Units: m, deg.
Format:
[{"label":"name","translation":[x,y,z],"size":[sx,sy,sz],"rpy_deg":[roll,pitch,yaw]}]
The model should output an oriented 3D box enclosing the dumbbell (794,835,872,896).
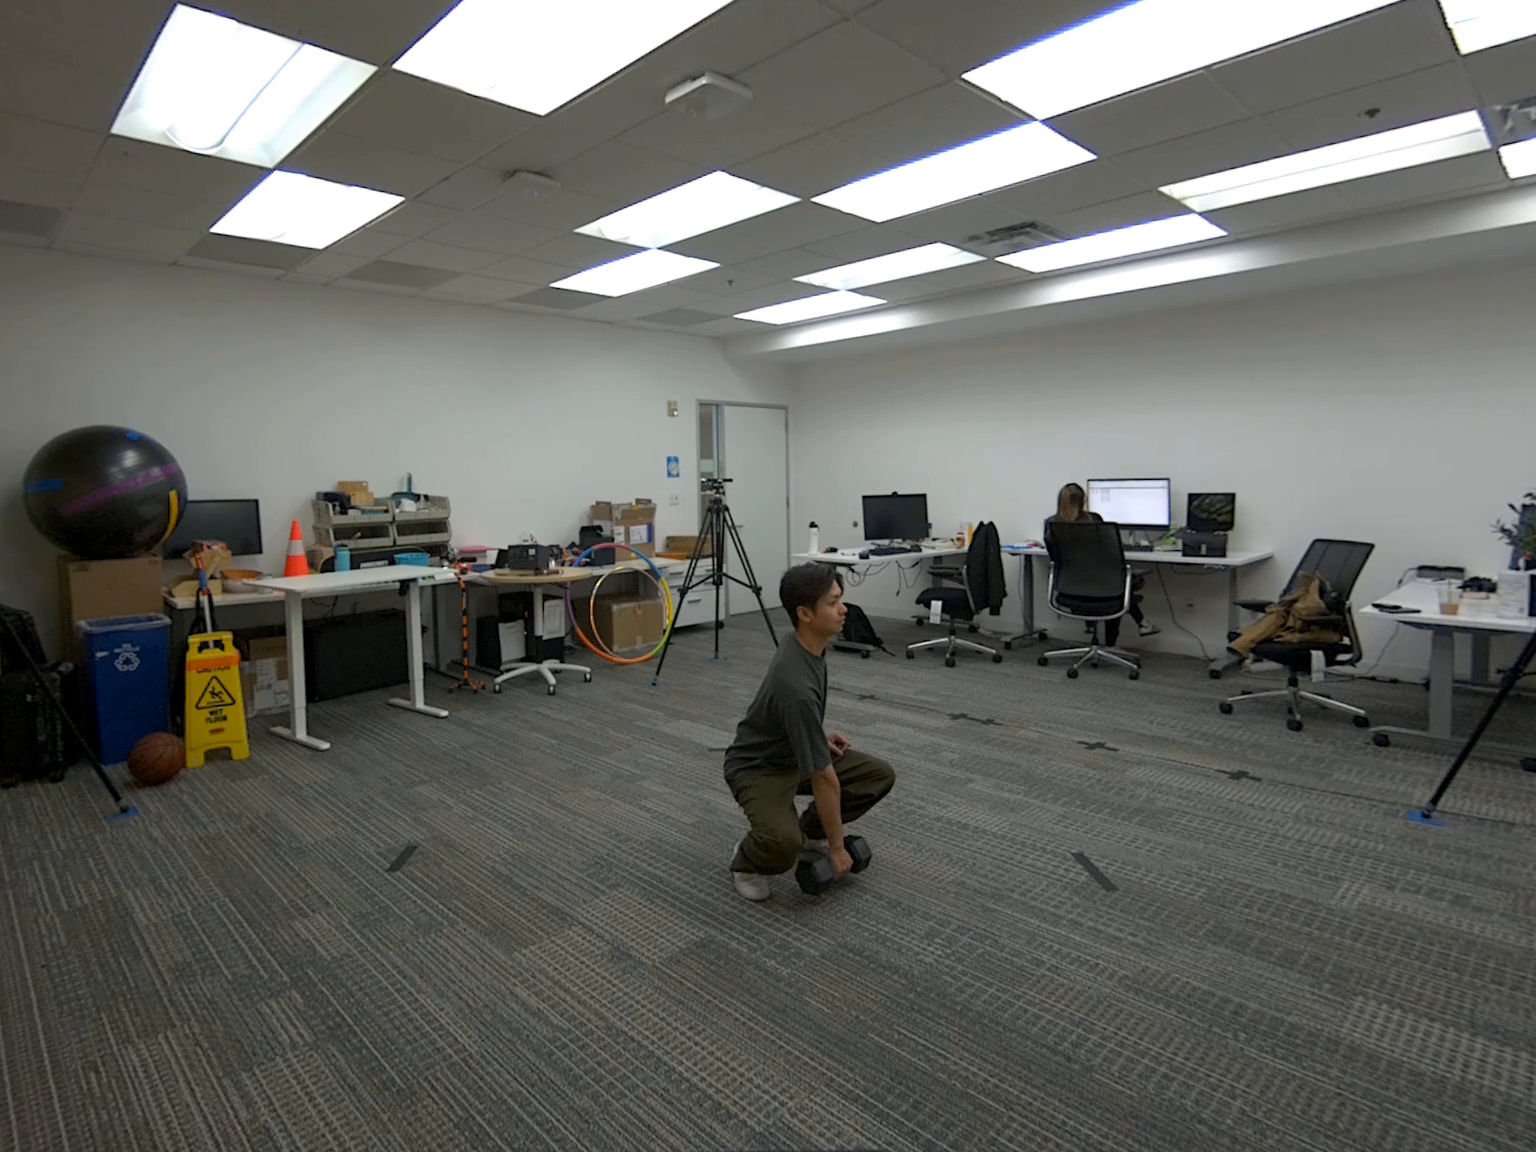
[{"label":"dumbbell","translation":[0.215,0.968,2.873],"size":[0.286,0.121,0.113],"rpy_deg":[-9,33,-45]}]
